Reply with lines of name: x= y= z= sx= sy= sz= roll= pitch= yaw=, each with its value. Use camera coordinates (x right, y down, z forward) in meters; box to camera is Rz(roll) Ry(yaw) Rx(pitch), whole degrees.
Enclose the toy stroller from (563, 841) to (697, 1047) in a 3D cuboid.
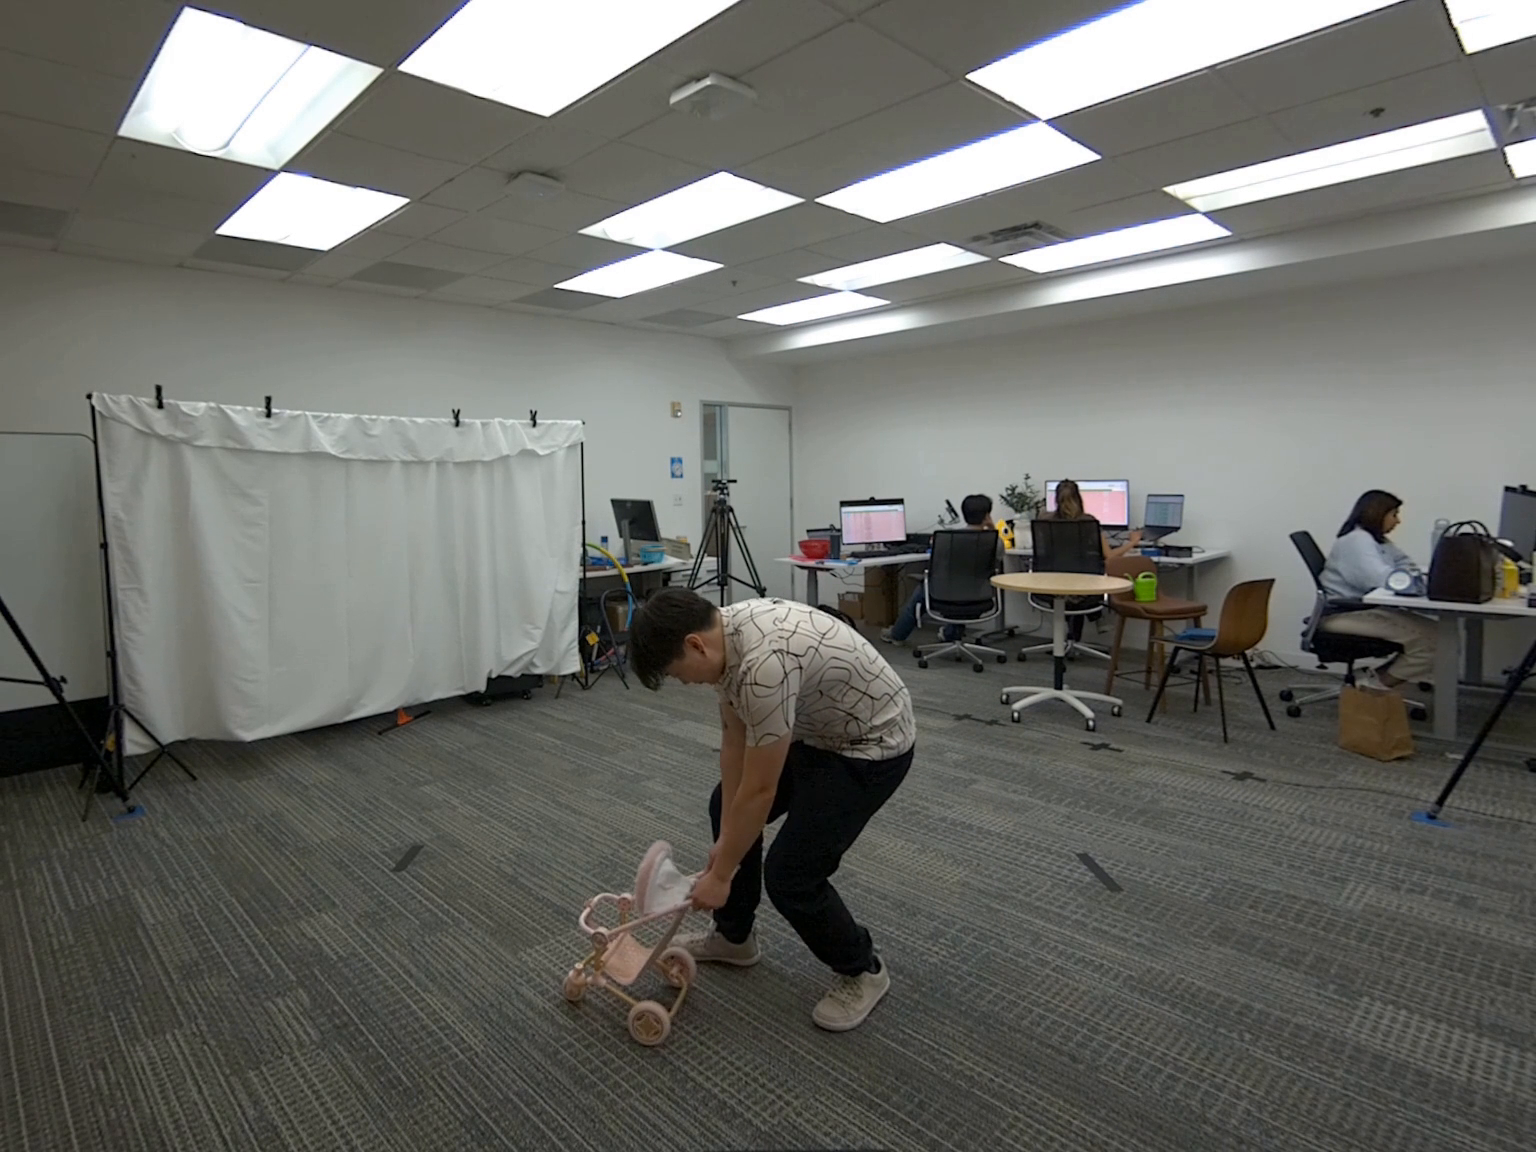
toy stroller: x=-0.332 y=0.938 z=2.259 sx=0.348 sy=0.532 sz=0.277 roll=18 pitch=10 yaw=16
